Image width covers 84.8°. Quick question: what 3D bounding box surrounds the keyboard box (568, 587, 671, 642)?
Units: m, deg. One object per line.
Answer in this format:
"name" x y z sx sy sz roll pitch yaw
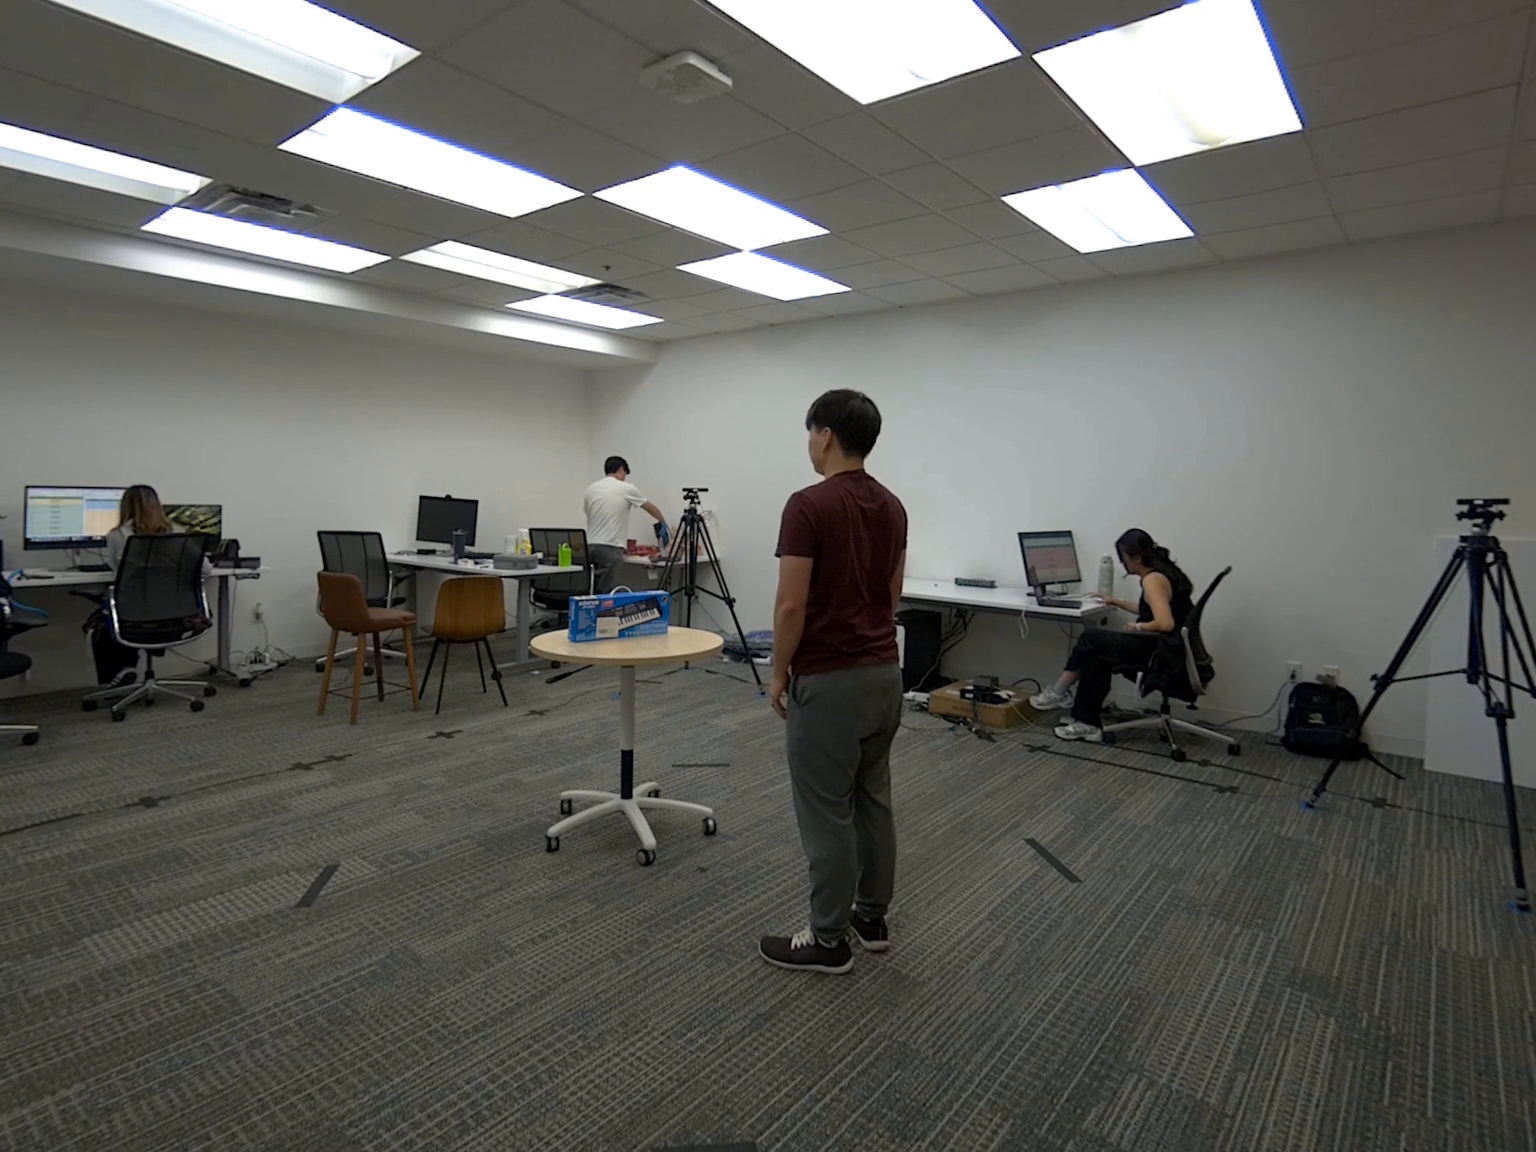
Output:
"keyboard box" -0.615 0.163 3.475 0.424 0.175 0.061 -3 9 -37
